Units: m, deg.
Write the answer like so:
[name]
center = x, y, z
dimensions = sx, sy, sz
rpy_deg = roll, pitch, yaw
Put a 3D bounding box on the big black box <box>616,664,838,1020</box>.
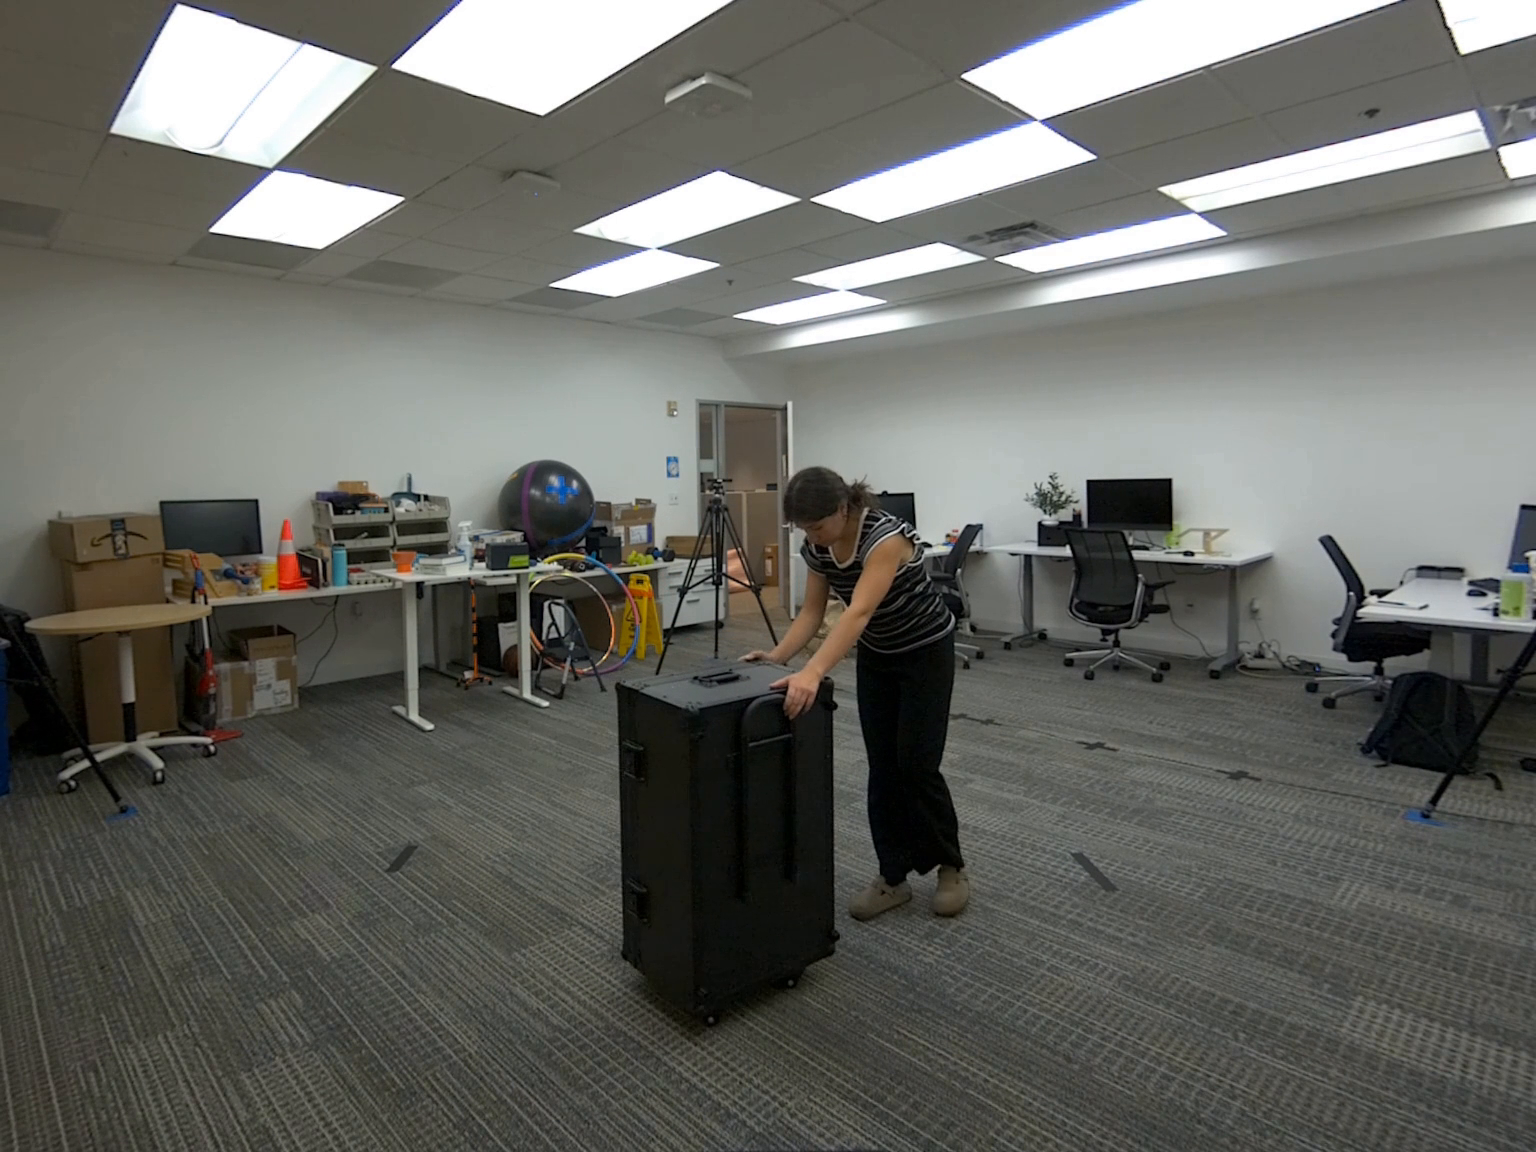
[big black box]
center = -0.102, 0.711, 2.354
dimensions = 0.507, 0.857, 0.409
rpy_deg = -4, 7, -38
